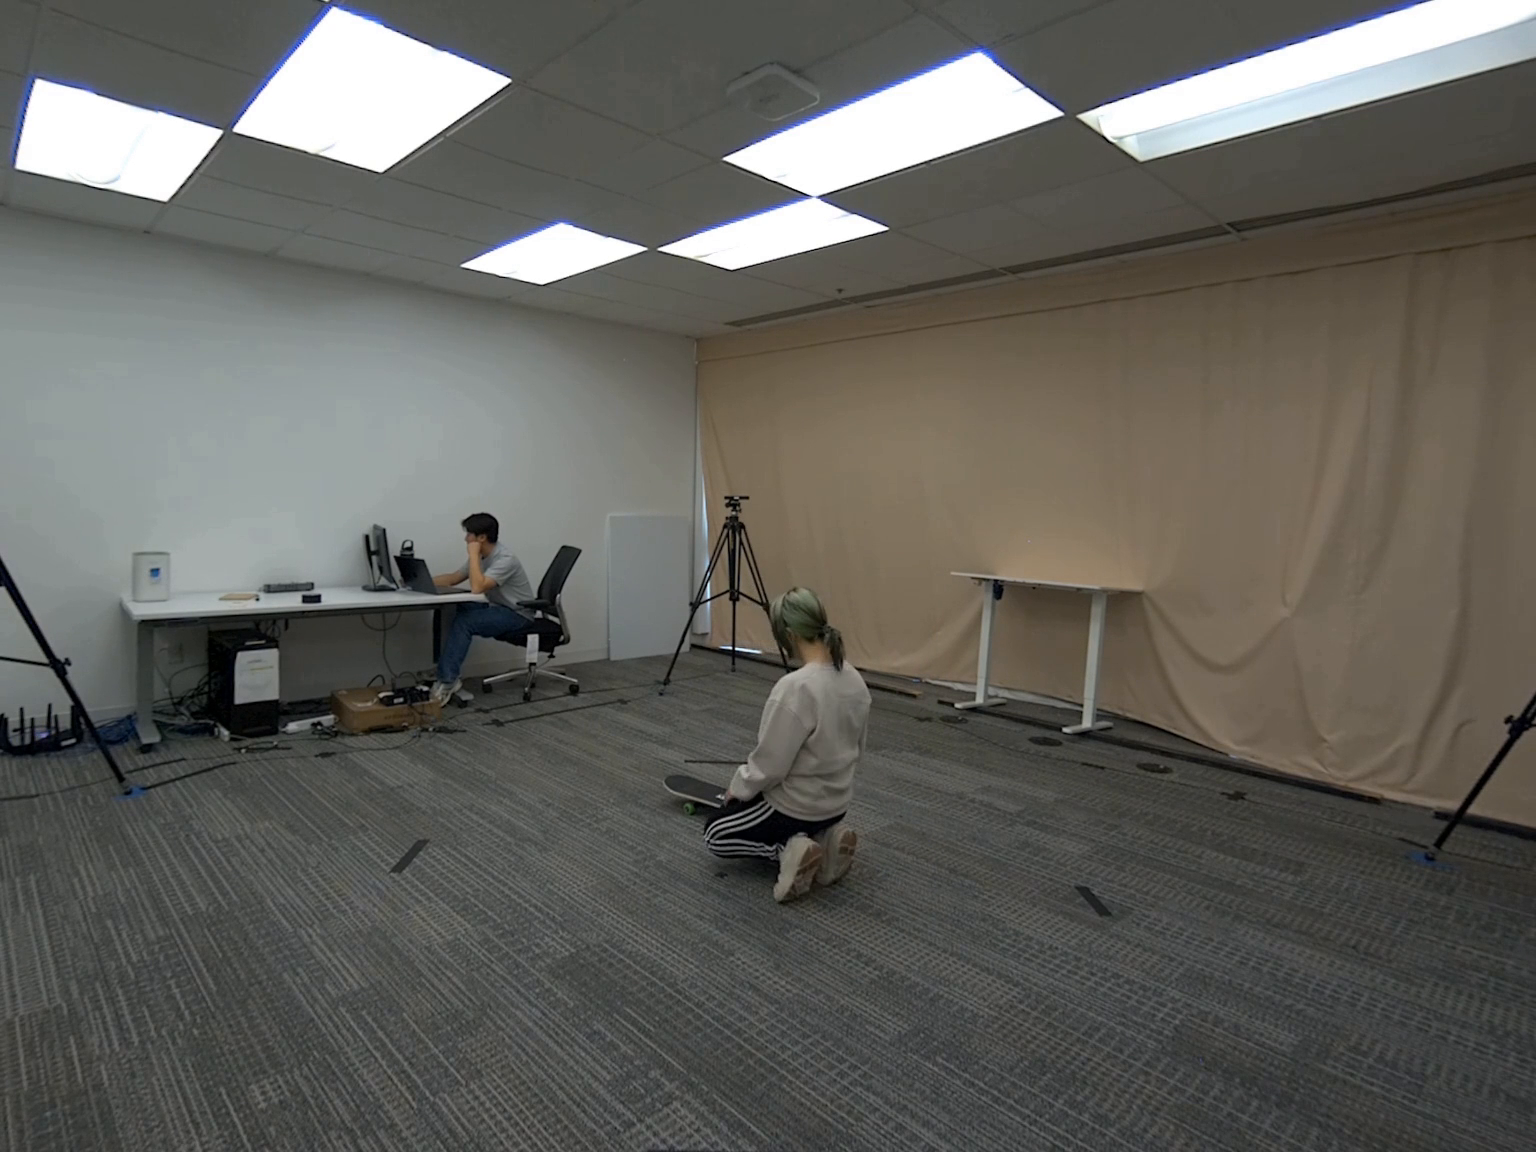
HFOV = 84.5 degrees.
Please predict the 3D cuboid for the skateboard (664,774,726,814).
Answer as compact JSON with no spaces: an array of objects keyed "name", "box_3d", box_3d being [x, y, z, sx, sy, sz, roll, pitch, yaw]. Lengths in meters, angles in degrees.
[{"name":"skateboard","box_3d":[-0.141,1.004,3.630,0.805,0.110,0.189,6,6,37]}]
